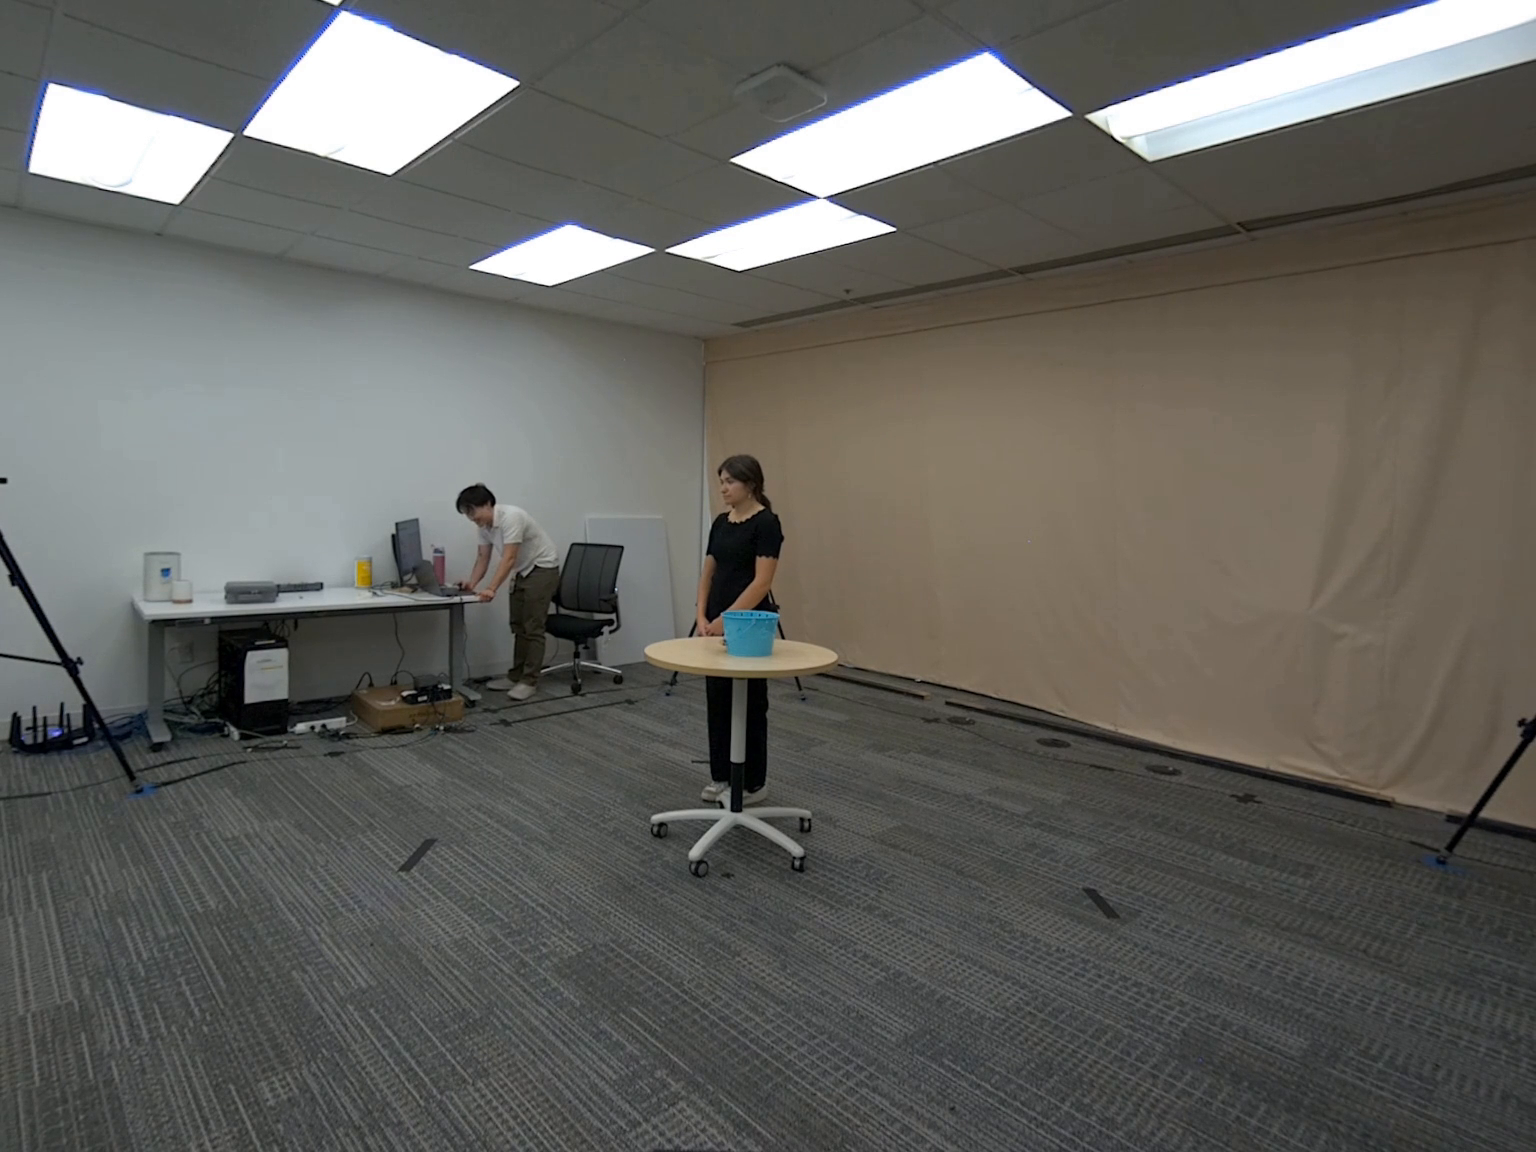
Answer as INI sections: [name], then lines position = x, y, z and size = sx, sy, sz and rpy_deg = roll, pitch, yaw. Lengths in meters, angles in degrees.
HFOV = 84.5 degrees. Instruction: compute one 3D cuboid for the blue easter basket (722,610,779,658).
[blue easter basket]
position = -0.086, 0.230, 3.329
size = 0.243, 0.156, 0.244
rpy_deg = 1, 2, -1
